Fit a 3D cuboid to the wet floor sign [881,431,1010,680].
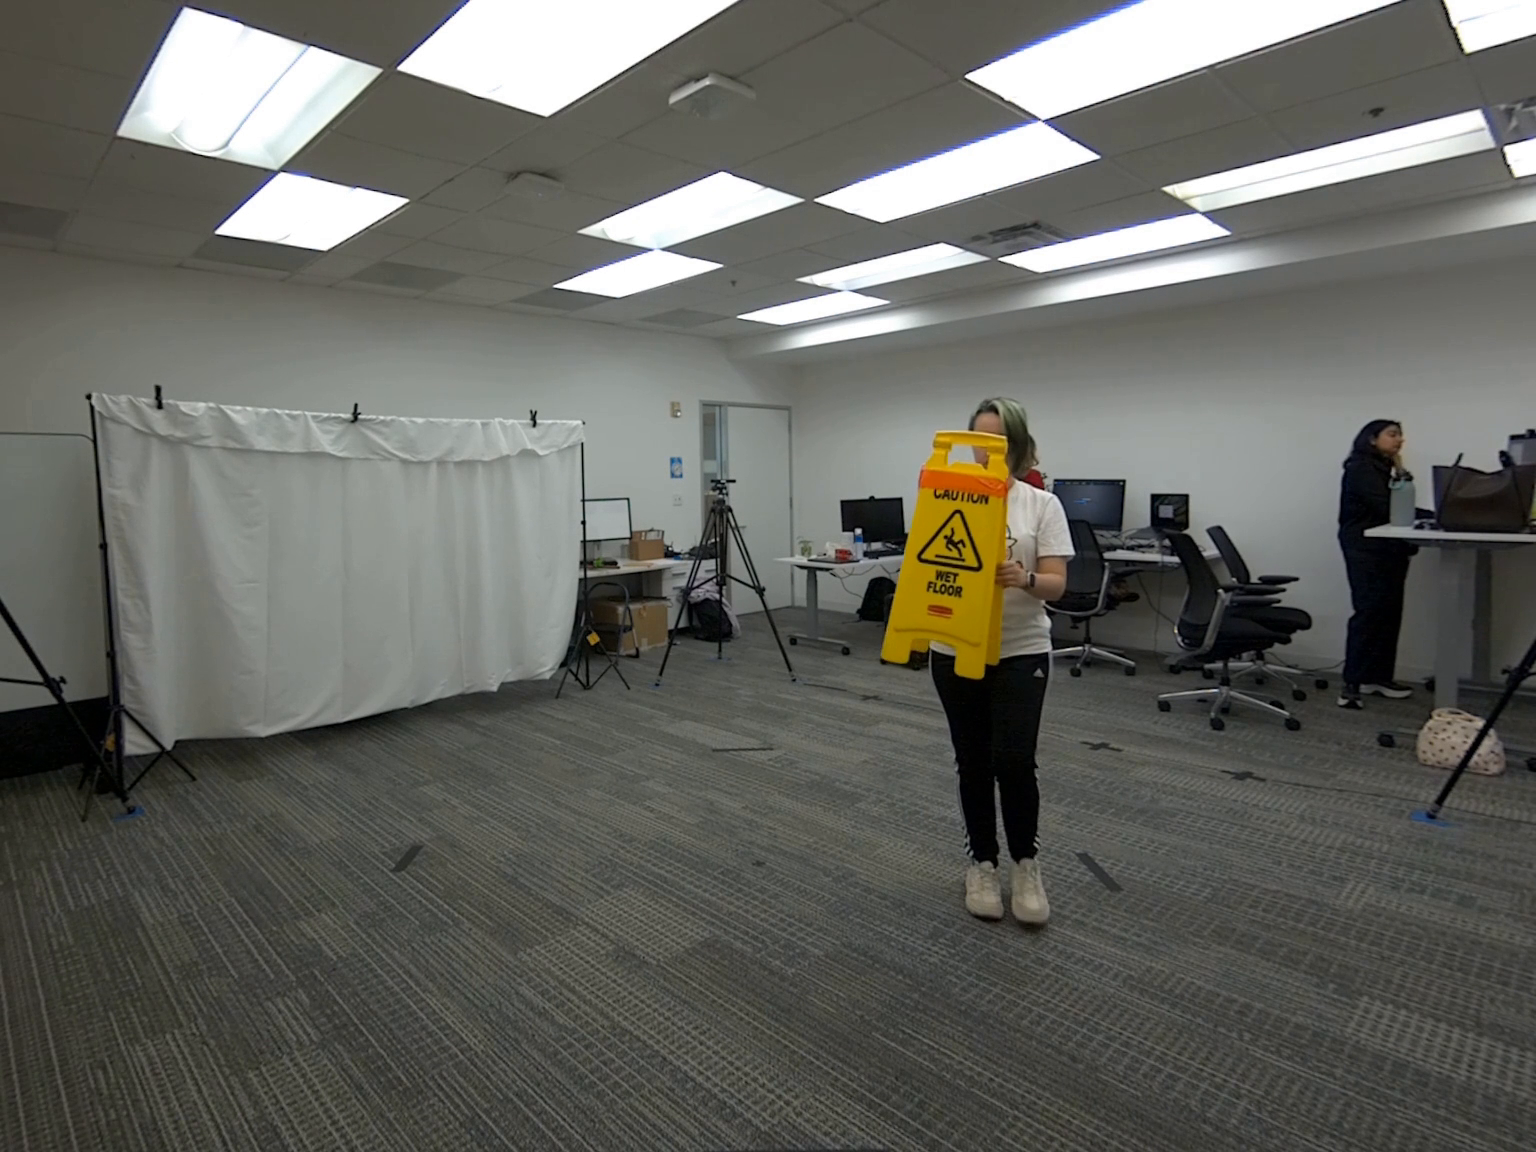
[{"bbox_3d":[0.538,-0.071,2.381,0.289,0.643,0.284,8,6,23],"label":"wet floor sign"}]
